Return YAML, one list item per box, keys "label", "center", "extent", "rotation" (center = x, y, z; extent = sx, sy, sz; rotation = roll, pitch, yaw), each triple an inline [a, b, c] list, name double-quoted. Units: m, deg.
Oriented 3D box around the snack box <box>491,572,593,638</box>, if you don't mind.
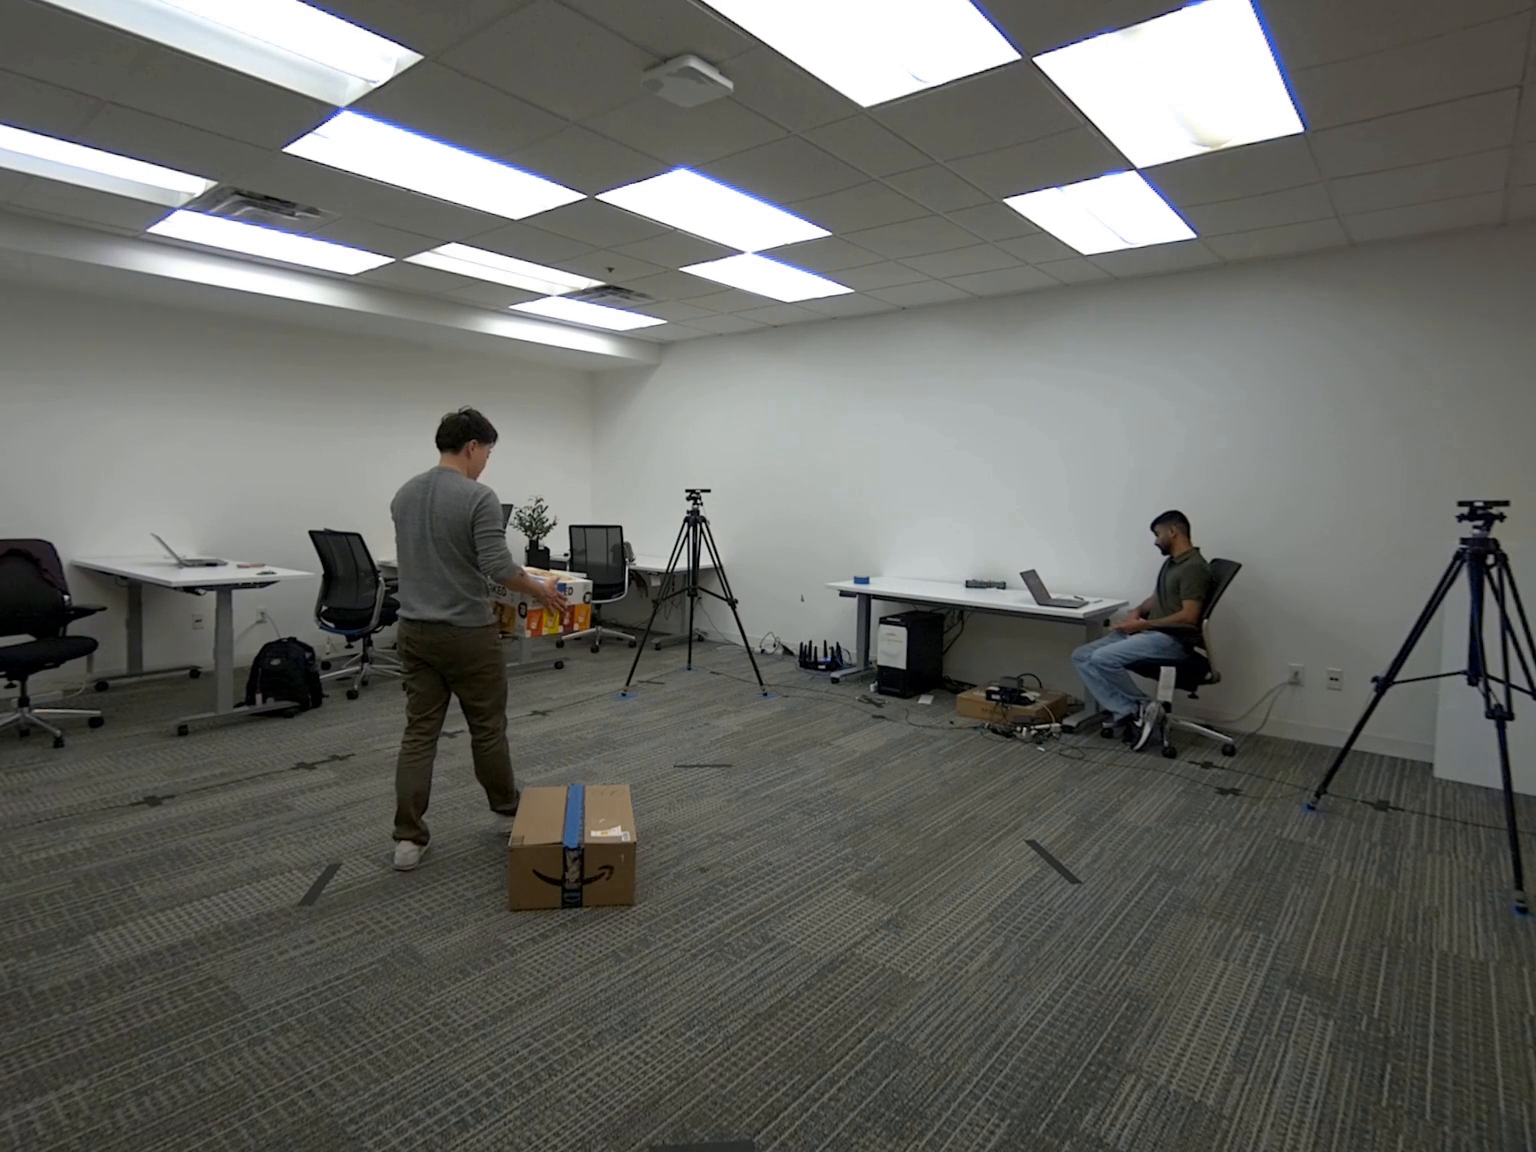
- label: "snack box"
  center: [-1.008, 0.099, 3.528]
  extent: [0.419, 0.204, 0.330]
  rotation: [11, 9, 36]
